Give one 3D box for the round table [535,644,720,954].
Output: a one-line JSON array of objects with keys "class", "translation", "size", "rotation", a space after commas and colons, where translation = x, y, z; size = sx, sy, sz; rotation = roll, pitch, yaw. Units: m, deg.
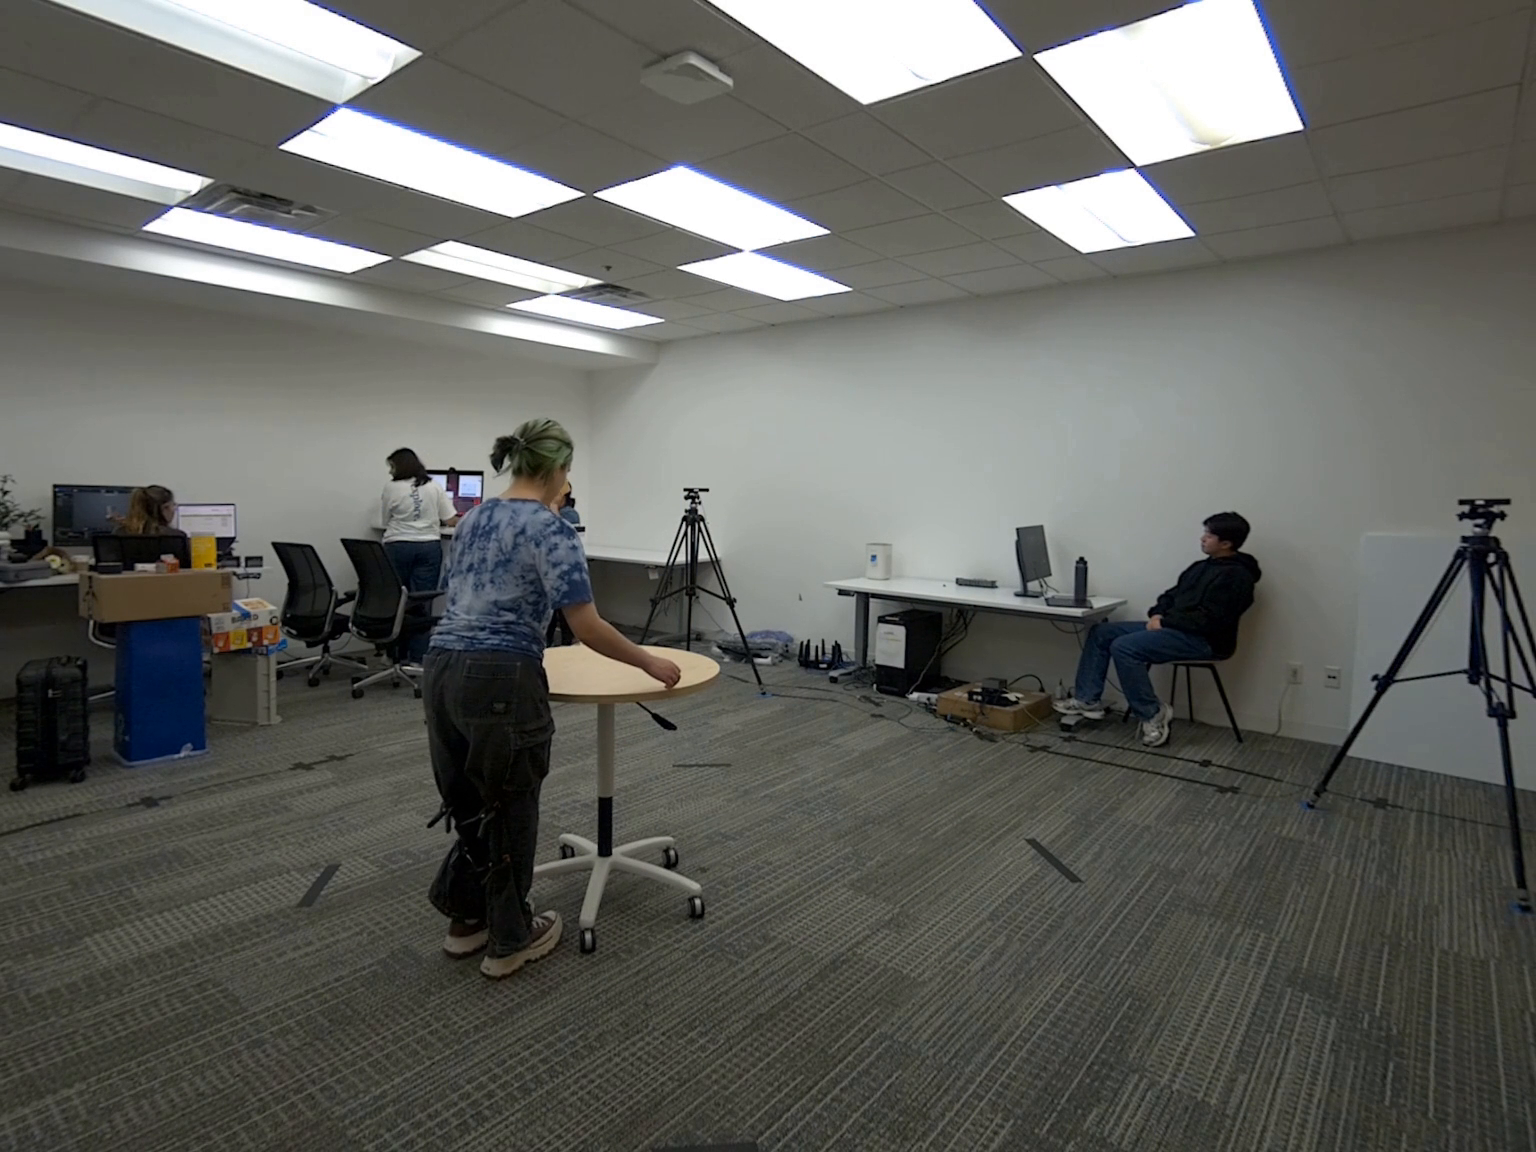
[{"class": "round table", "translation": [-0.558, 0.697, 2.882], "size": [0.763, 0.791, 0.768], "rotation": [1, 4, -2]}]
